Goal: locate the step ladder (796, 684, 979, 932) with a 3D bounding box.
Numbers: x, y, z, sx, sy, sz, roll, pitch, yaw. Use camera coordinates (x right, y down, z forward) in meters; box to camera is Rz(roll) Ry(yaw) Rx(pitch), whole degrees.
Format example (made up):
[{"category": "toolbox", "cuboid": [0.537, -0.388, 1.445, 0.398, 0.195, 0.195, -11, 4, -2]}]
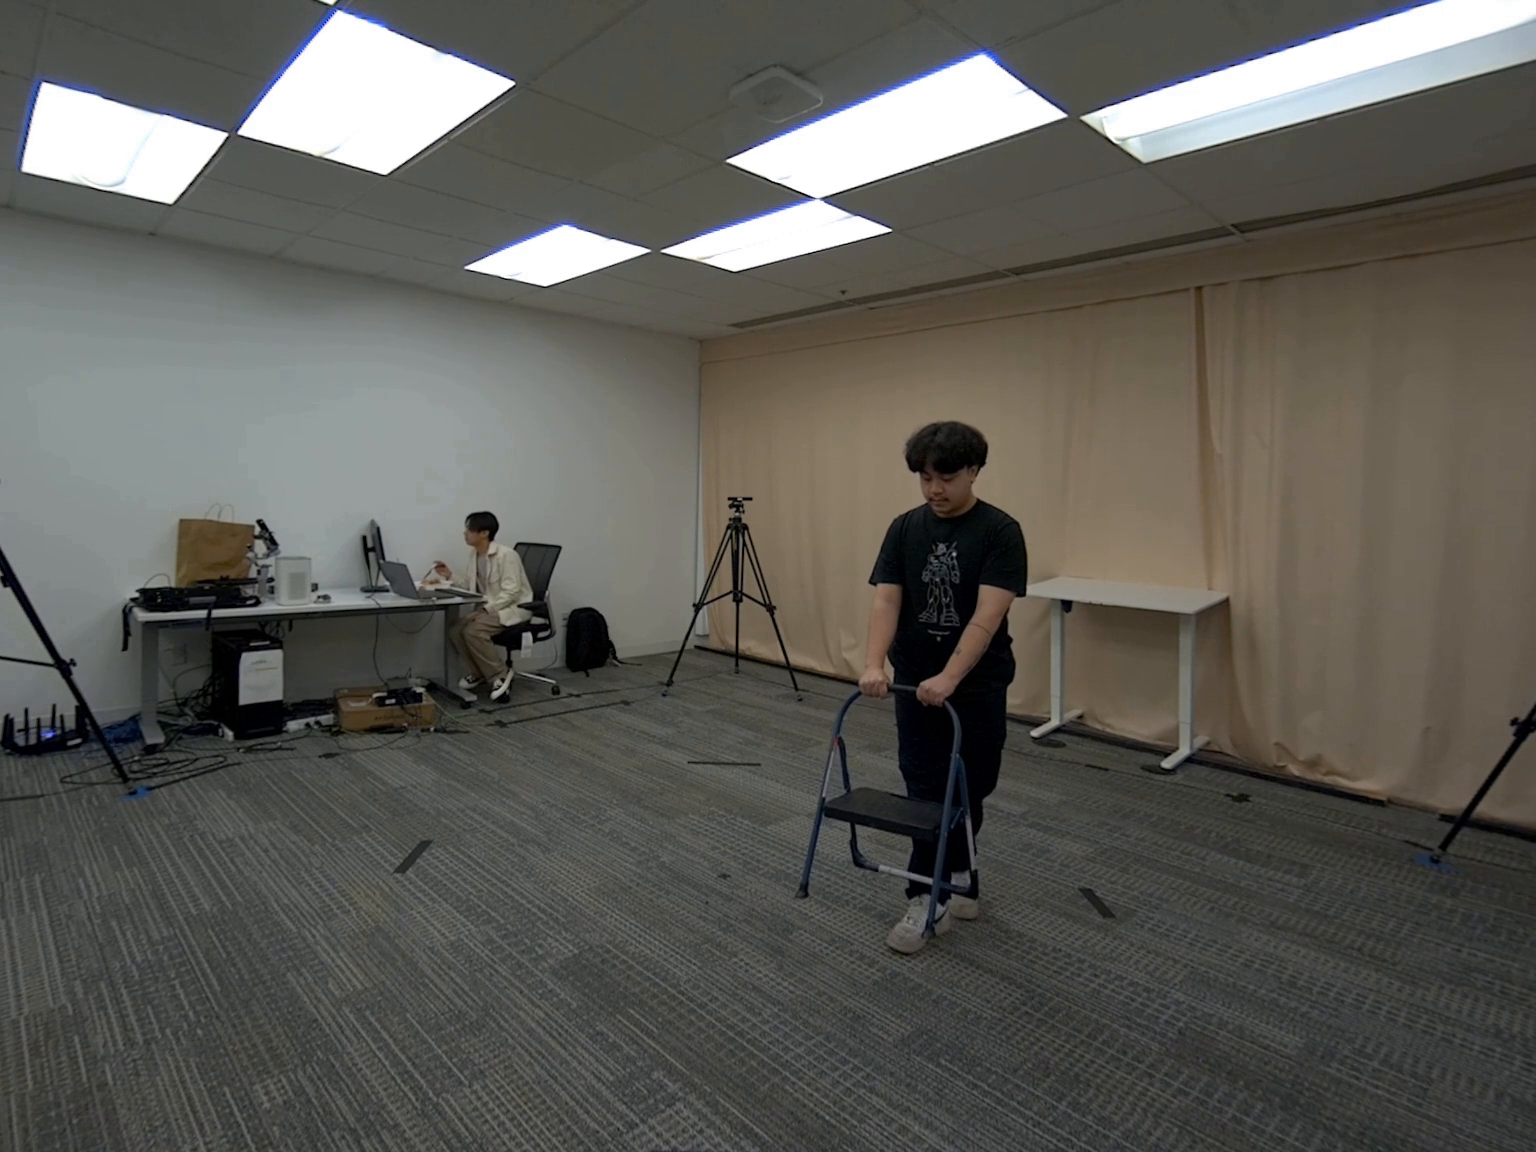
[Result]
[{"category": "step ladder", "cuboid": [0.351, 0.641, 2.454, 0.440, 0.606, 0.341, 1, 0, 37]}]
